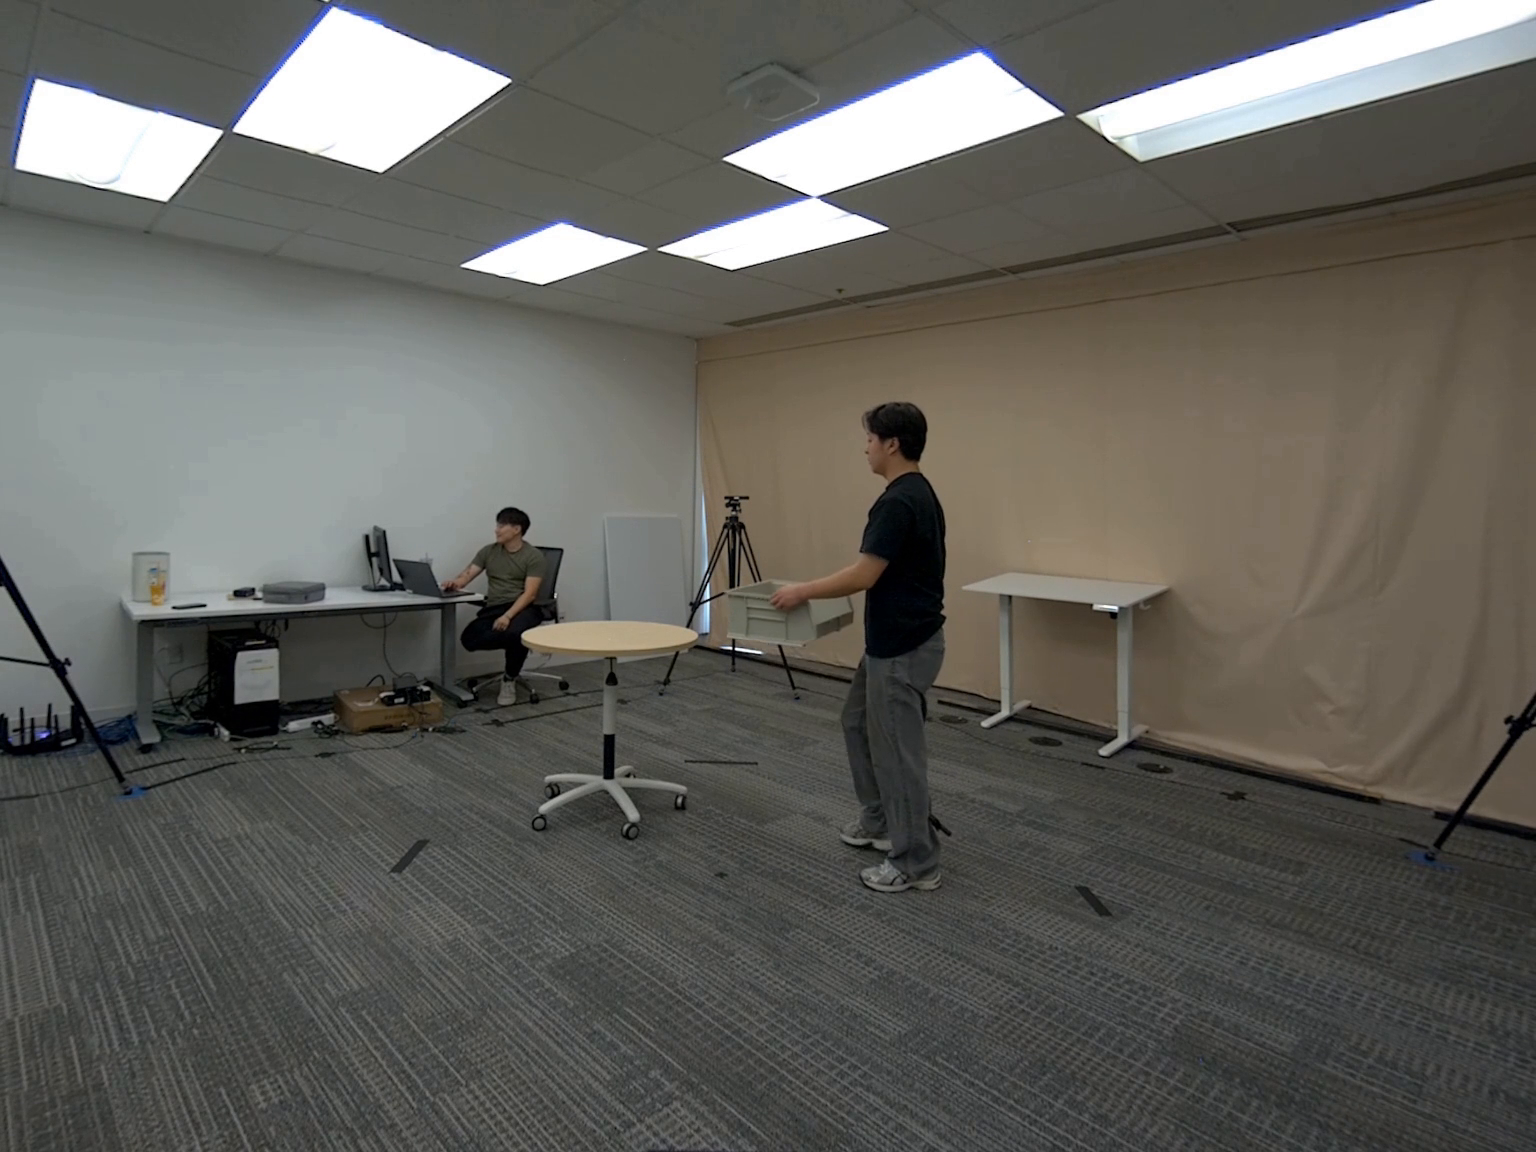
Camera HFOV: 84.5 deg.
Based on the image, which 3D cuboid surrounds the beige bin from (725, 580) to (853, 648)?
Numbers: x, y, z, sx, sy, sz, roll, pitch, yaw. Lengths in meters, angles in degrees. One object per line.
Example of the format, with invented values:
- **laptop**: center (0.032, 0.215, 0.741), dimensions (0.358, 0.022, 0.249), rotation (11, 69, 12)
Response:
- **beige bin**: center (0.090, 0.152, 3.300), dimensions (0.385, 0.188, 0.416), rotation (4, 7, 25)
